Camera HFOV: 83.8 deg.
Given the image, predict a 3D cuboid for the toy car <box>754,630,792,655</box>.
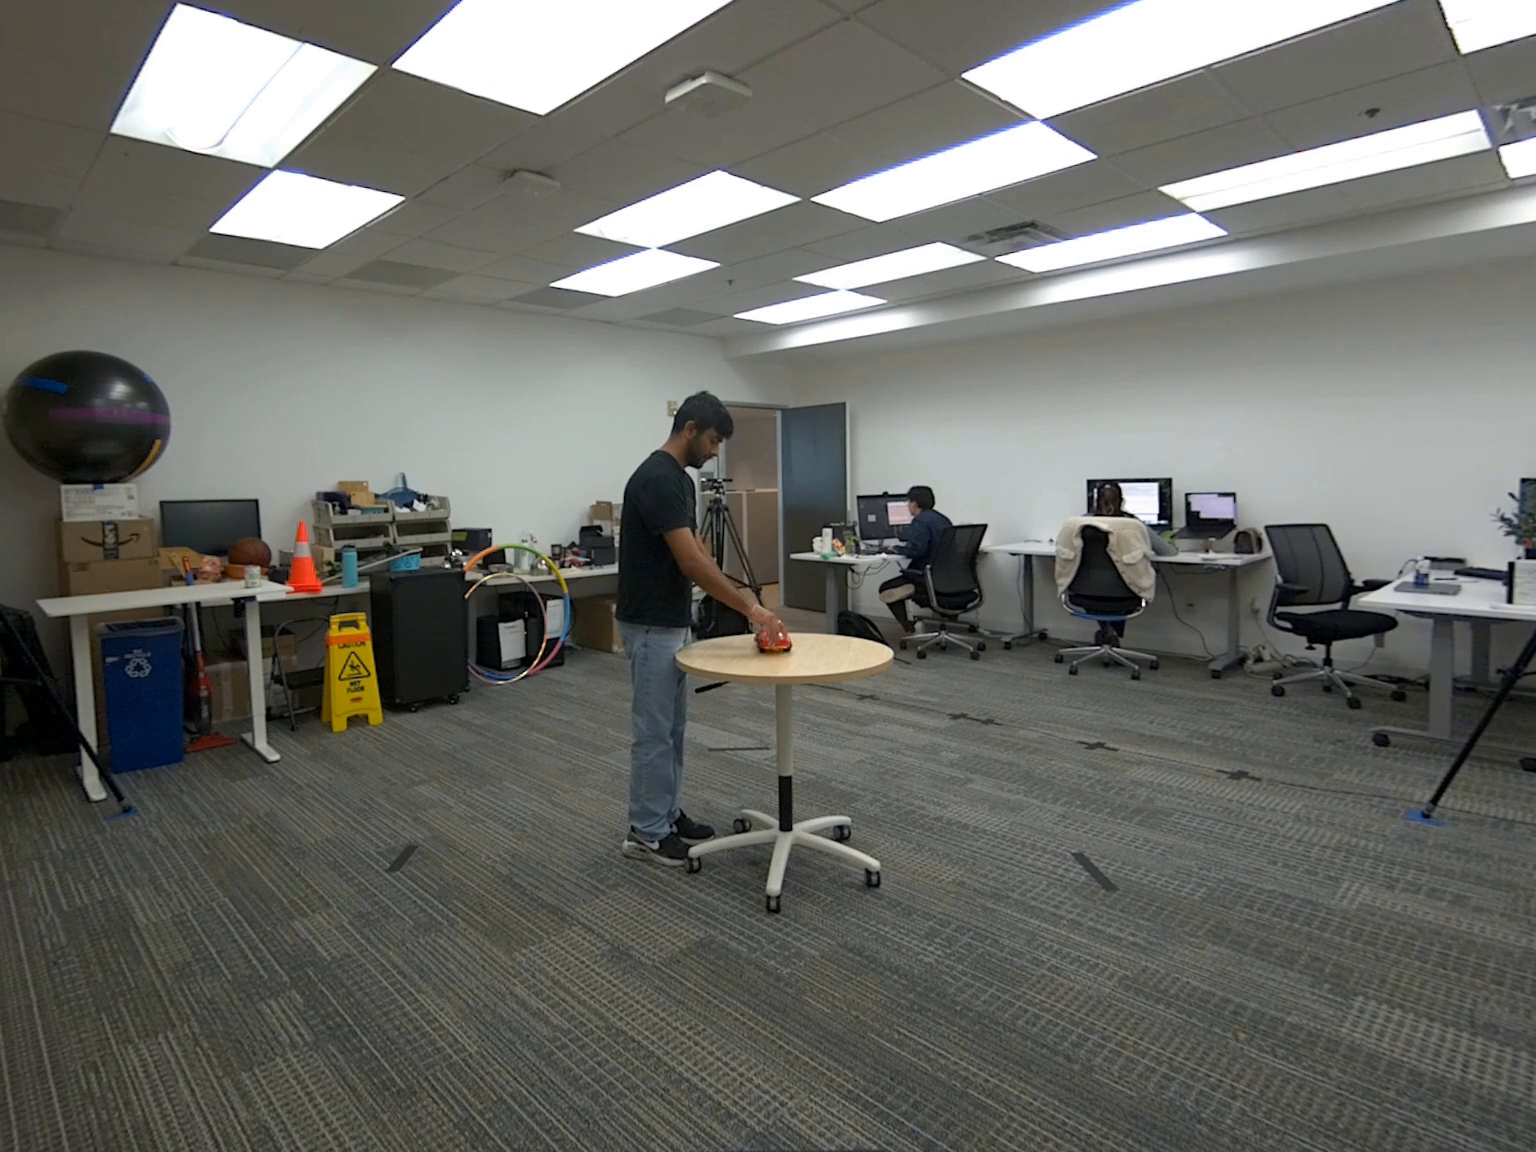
[{"bbox_3d":[0.016,0.231,3.075,0.130,0.083,0.255,-2,1,-5],"label":"toy car"}]
